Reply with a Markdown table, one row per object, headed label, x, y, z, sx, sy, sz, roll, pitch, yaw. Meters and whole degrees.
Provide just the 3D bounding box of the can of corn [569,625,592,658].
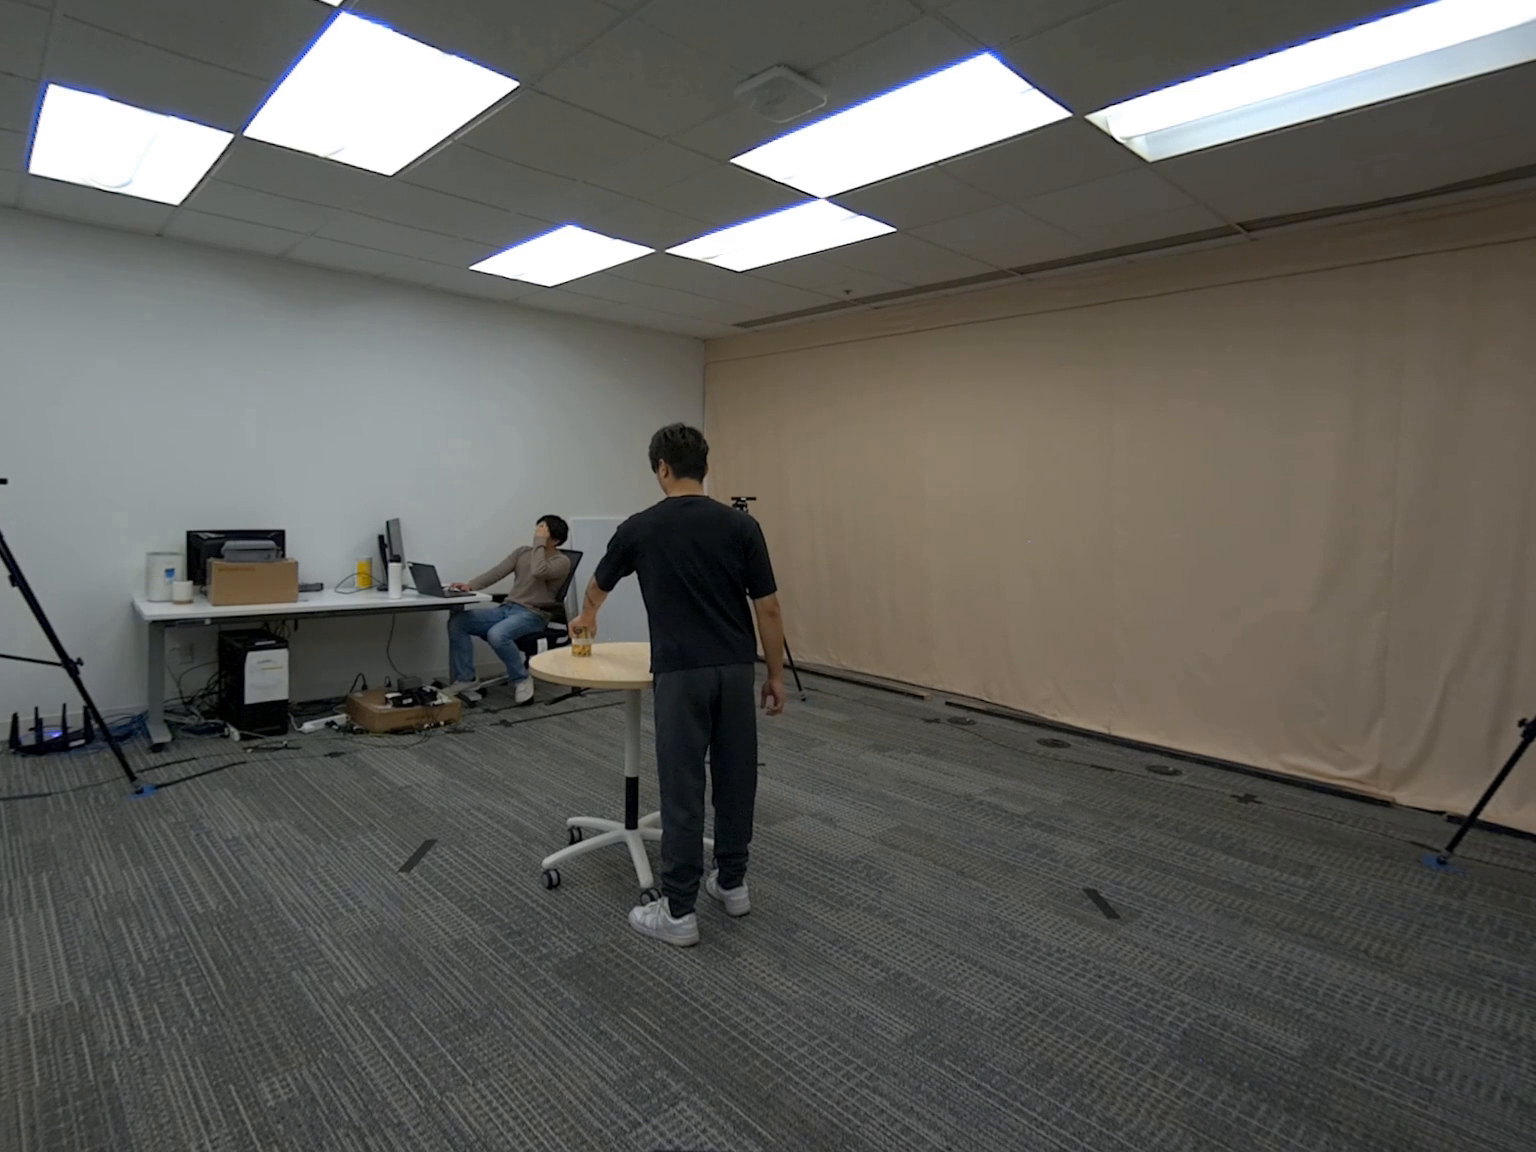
| label | x | y | z | sx | sy | sz | roll | pitch | yaw |
| --- | --- | --- | --- | --- | --- | --- | --- | --- | --- |
| can of corn | -0.722 | 0.246 | 3.215 | 0.074 | 0.110 | 0.074 | 3 | 5 | -2 |
